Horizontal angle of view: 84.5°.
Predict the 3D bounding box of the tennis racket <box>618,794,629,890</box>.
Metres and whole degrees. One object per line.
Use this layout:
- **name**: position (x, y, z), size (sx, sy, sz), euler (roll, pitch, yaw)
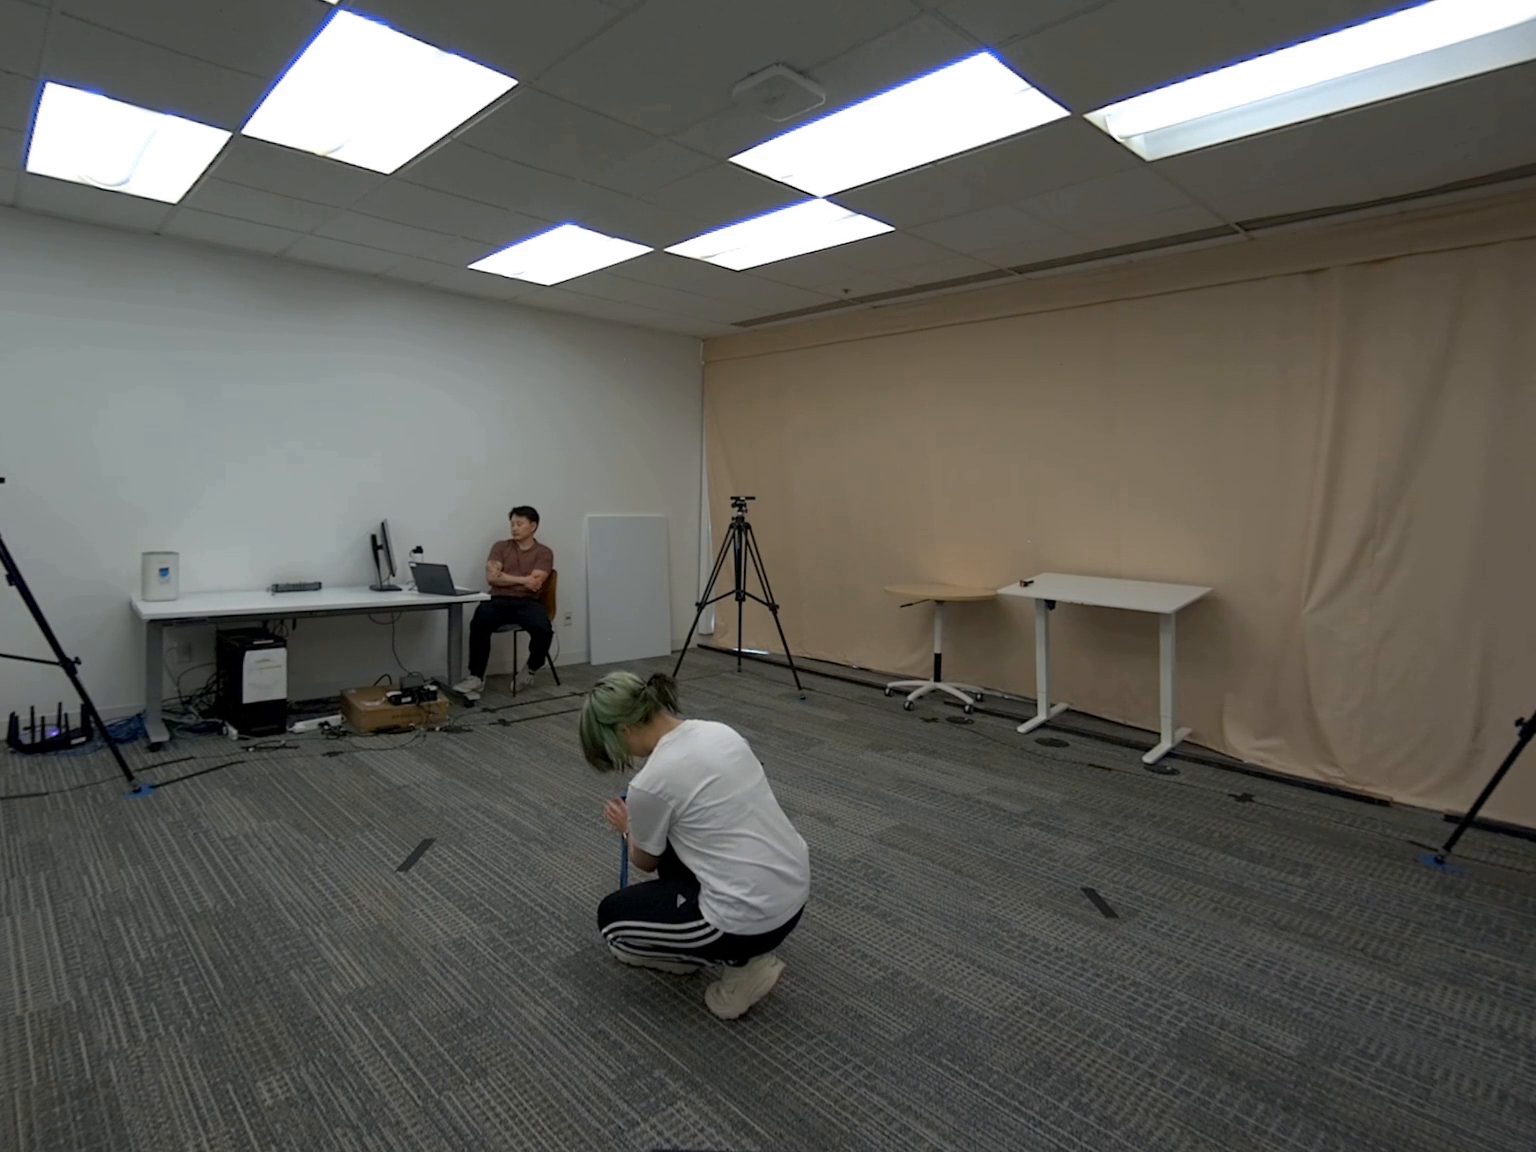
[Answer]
- **tennis racket**: position (-0.472, 0.922, 2.718), size (0.032, 0.430, 0.215), euler (2, 9, -4)
